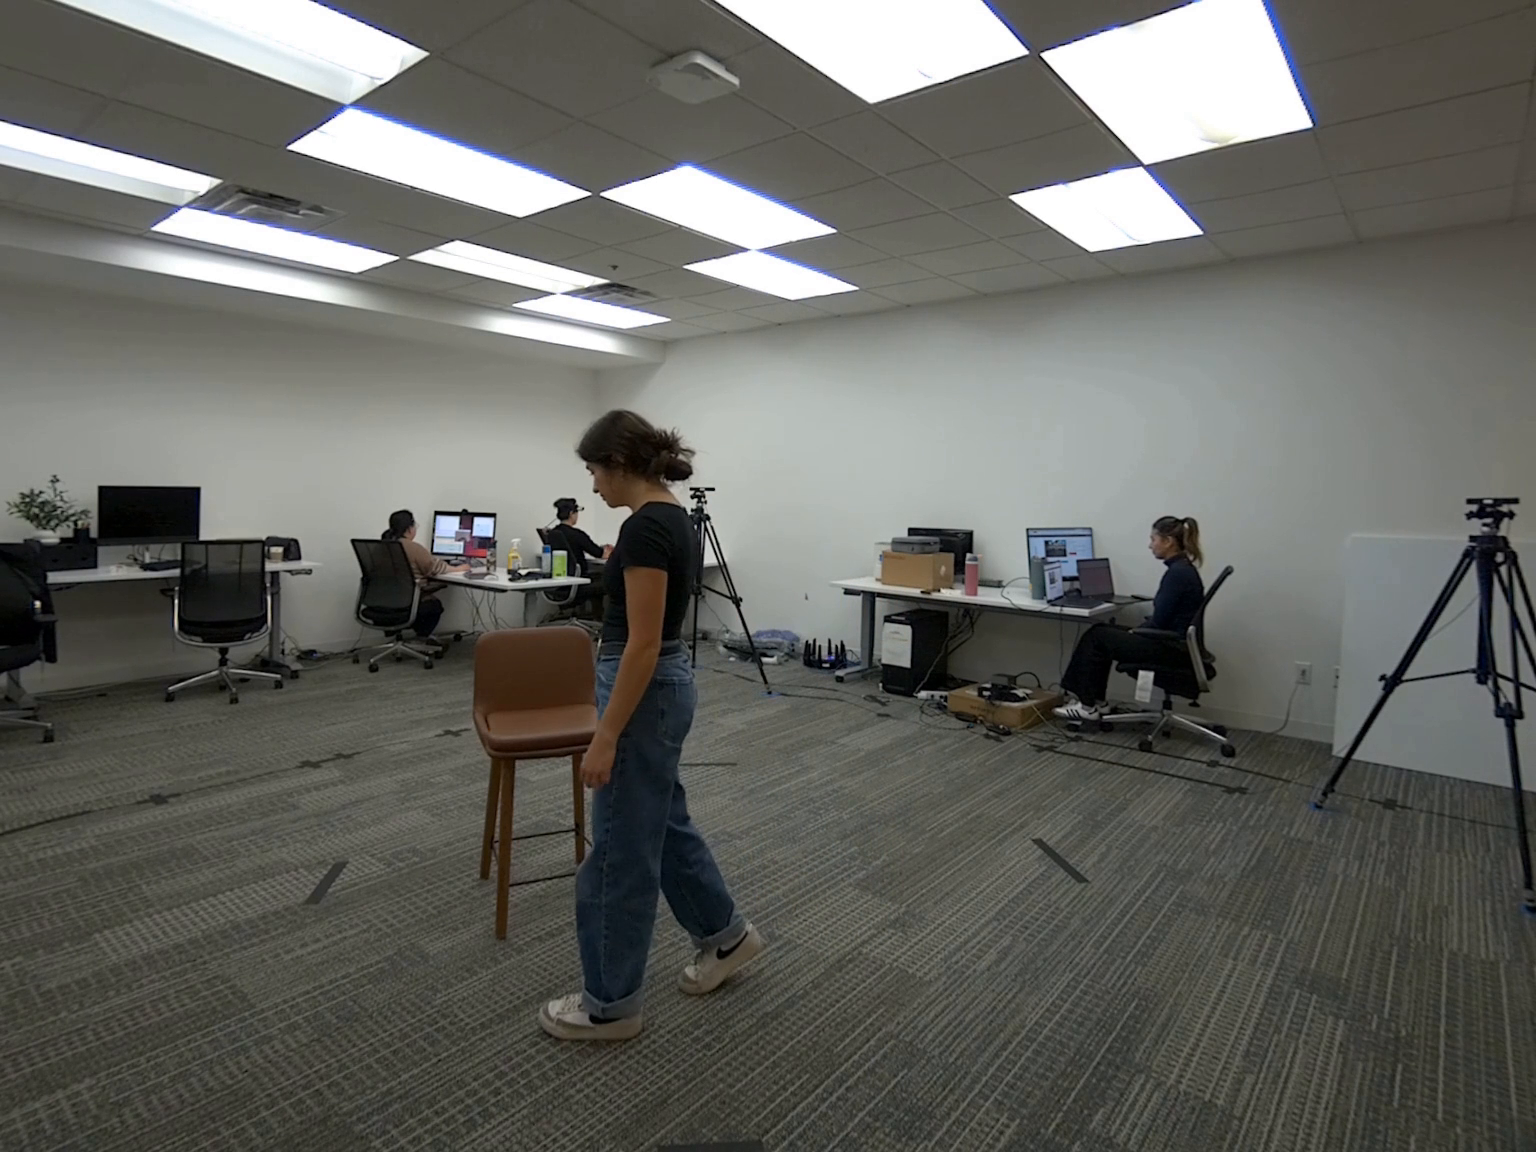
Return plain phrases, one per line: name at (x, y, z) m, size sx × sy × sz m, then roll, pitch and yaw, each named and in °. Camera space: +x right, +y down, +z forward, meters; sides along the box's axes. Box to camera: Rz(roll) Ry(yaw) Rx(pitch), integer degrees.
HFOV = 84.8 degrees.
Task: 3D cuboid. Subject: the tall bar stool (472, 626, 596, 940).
tall bar stool at (-0.756, 0.645, 2.862) m, size 0.445 × 0.888 × 0.480 m, roll -1°, pitch 2°, yaw -27°
